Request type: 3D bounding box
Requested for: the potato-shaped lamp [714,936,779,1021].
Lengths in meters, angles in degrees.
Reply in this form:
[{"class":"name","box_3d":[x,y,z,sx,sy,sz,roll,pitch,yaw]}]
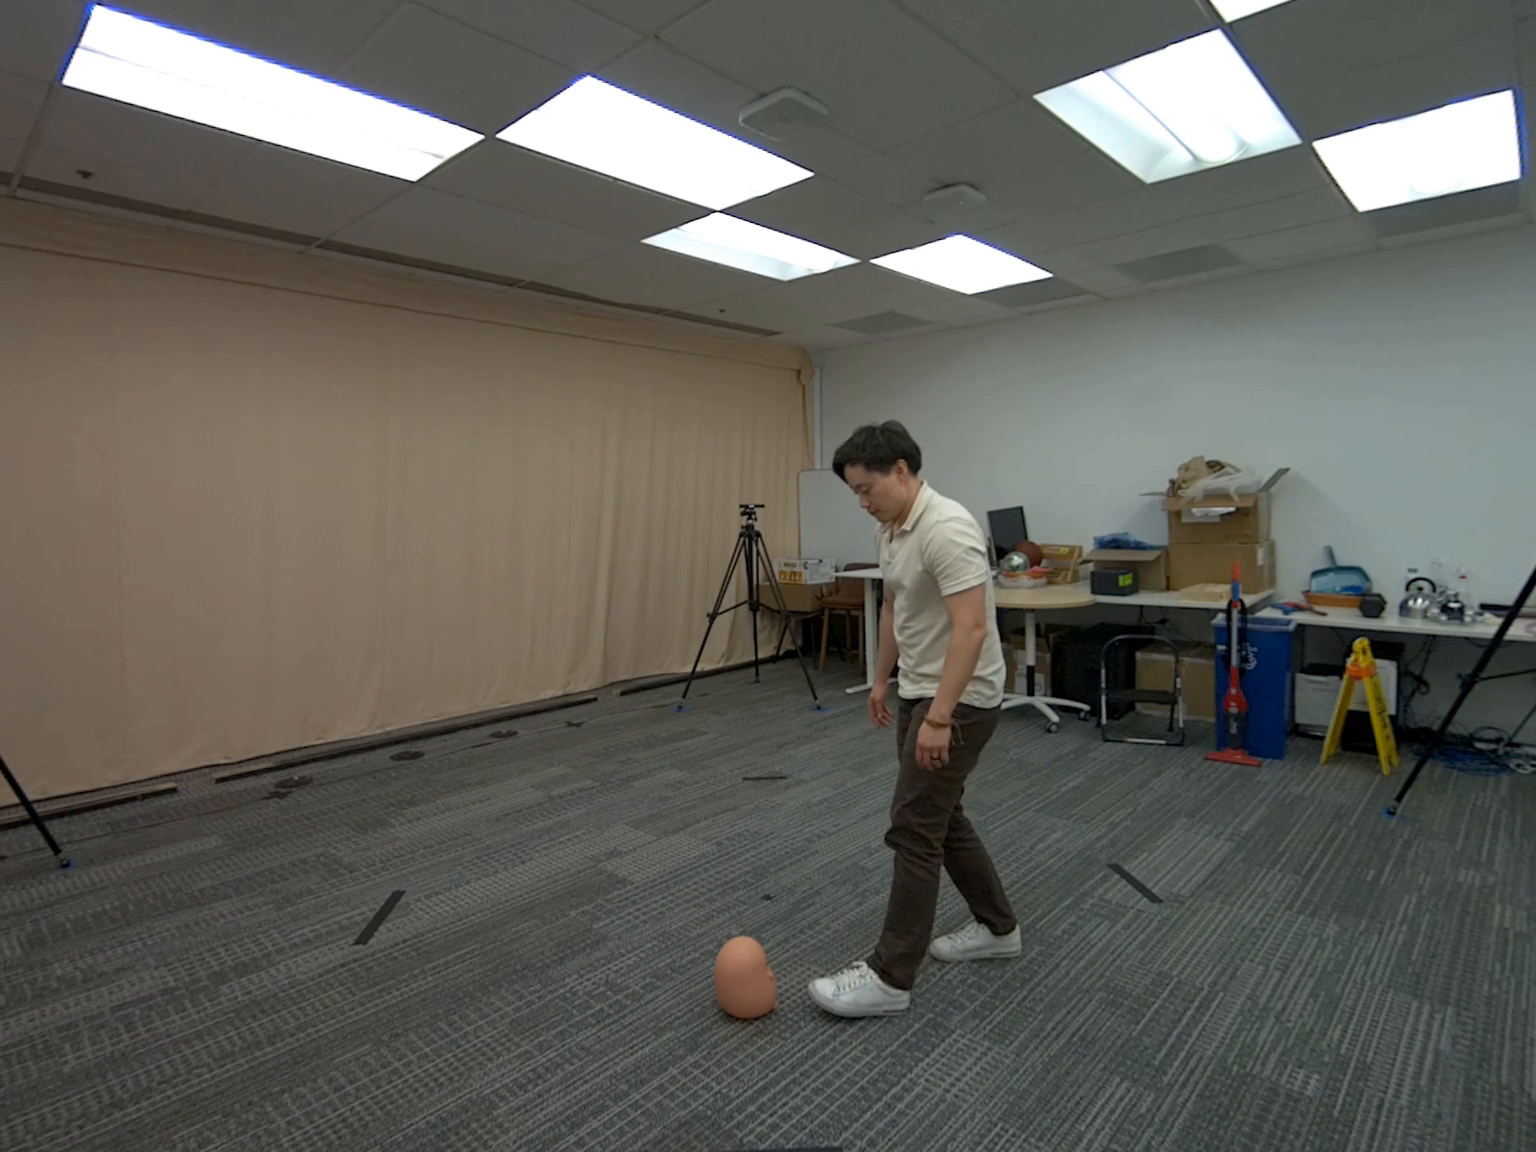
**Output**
[{"class":"potato-shaped lamp","box_3d":[-0.066,1.104,2.317,0.167,0.197,0.169,-4,5,-26]}]
